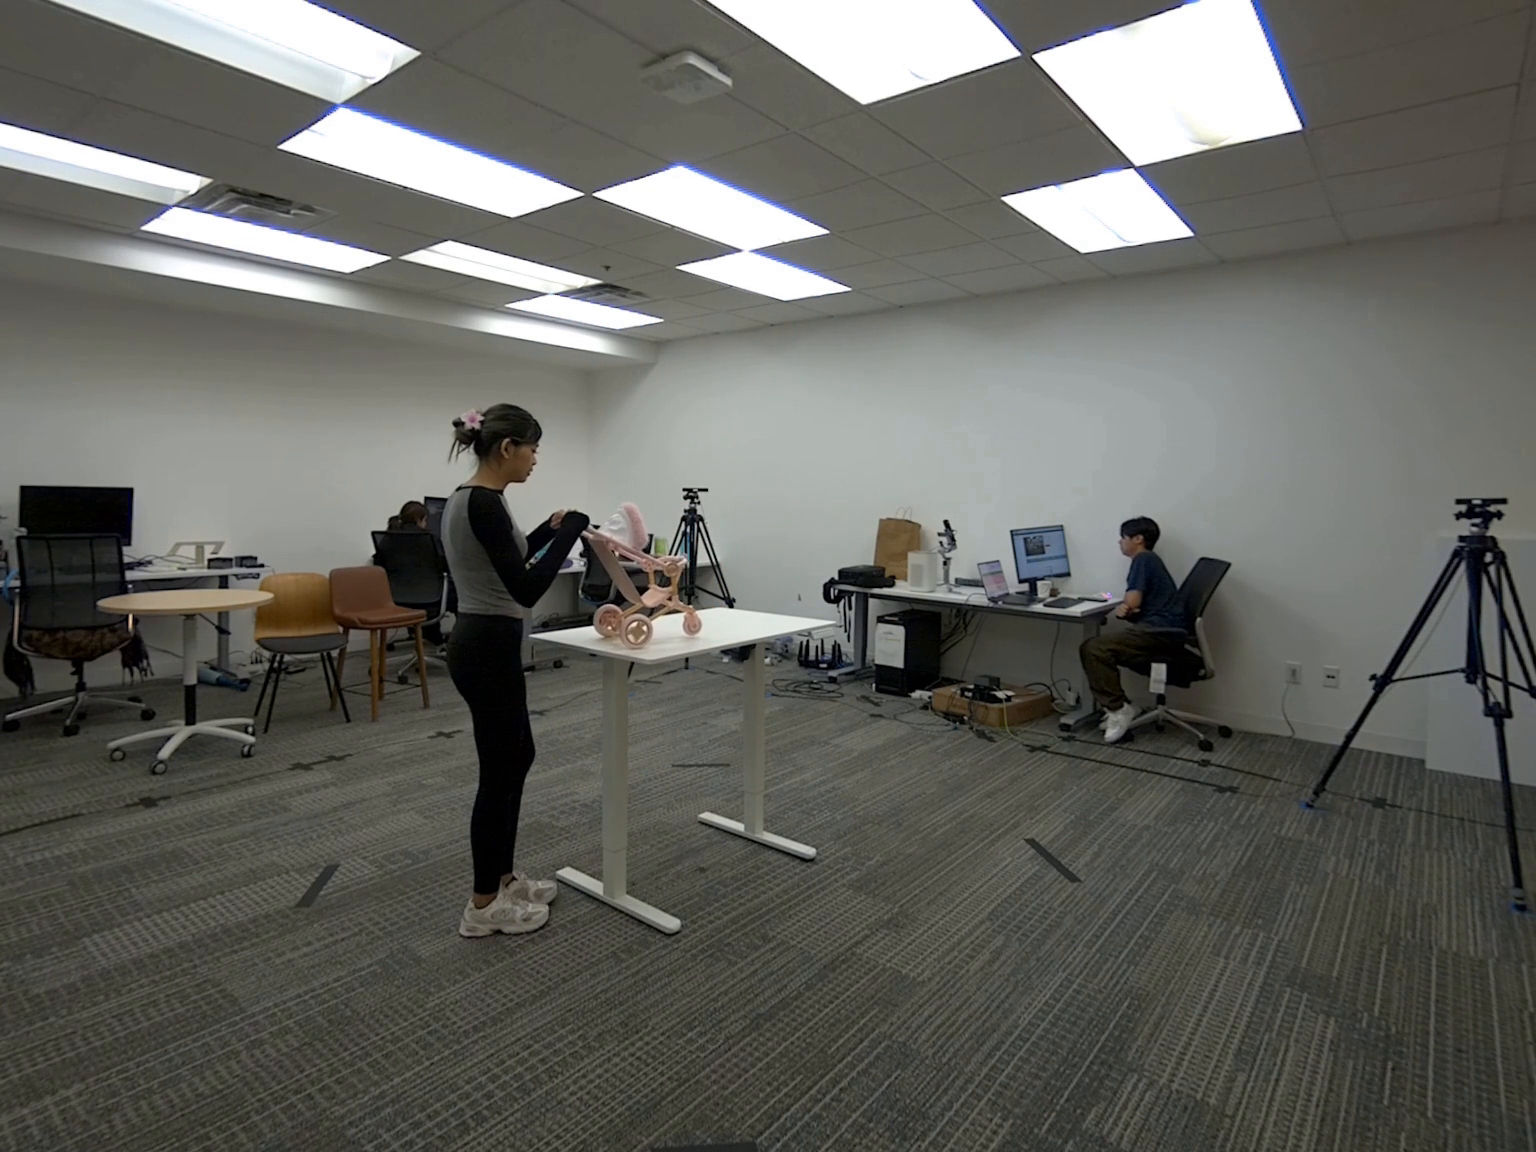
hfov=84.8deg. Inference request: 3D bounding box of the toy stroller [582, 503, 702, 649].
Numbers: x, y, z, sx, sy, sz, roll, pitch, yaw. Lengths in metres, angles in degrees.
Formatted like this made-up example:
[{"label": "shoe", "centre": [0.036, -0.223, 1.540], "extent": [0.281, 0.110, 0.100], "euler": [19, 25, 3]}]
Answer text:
[{"label": "toy stroller", "centre": [-0.438, -0.006, 2.790], "extent": [0.337, 0.528, 0.289], "euler": [-21, 12, -22]}]
